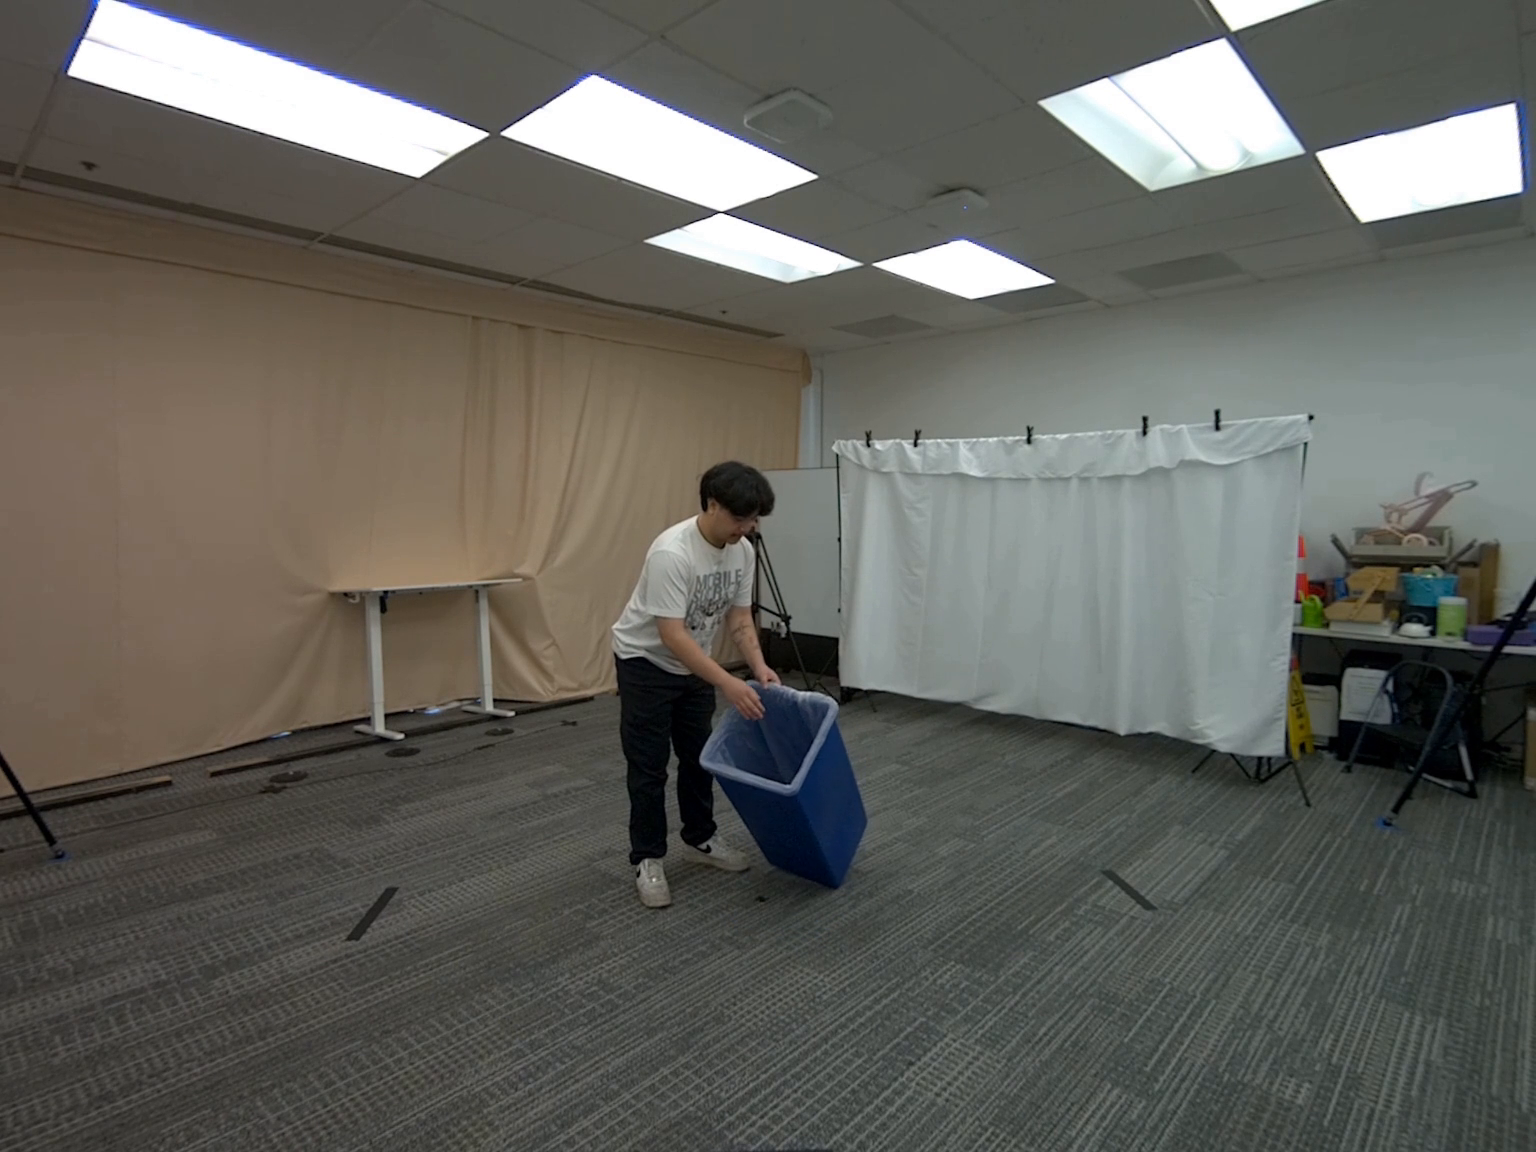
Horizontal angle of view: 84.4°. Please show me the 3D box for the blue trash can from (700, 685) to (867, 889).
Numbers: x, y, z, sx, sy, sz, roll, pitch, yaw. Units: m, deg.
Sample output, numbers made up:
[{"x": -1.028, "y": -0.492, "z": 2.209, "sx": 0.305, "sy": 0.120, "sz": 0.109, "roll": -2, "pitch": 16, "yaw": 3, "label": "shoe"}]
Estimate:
[{"x": 0.096, "y": 0.771, "z": 2.990, "sx": 0.390, "sy": 0.693, "sz": 0.373, "roll": 7, "pitch": 46, "yaw": 32, "label": "blue trash can"}]
